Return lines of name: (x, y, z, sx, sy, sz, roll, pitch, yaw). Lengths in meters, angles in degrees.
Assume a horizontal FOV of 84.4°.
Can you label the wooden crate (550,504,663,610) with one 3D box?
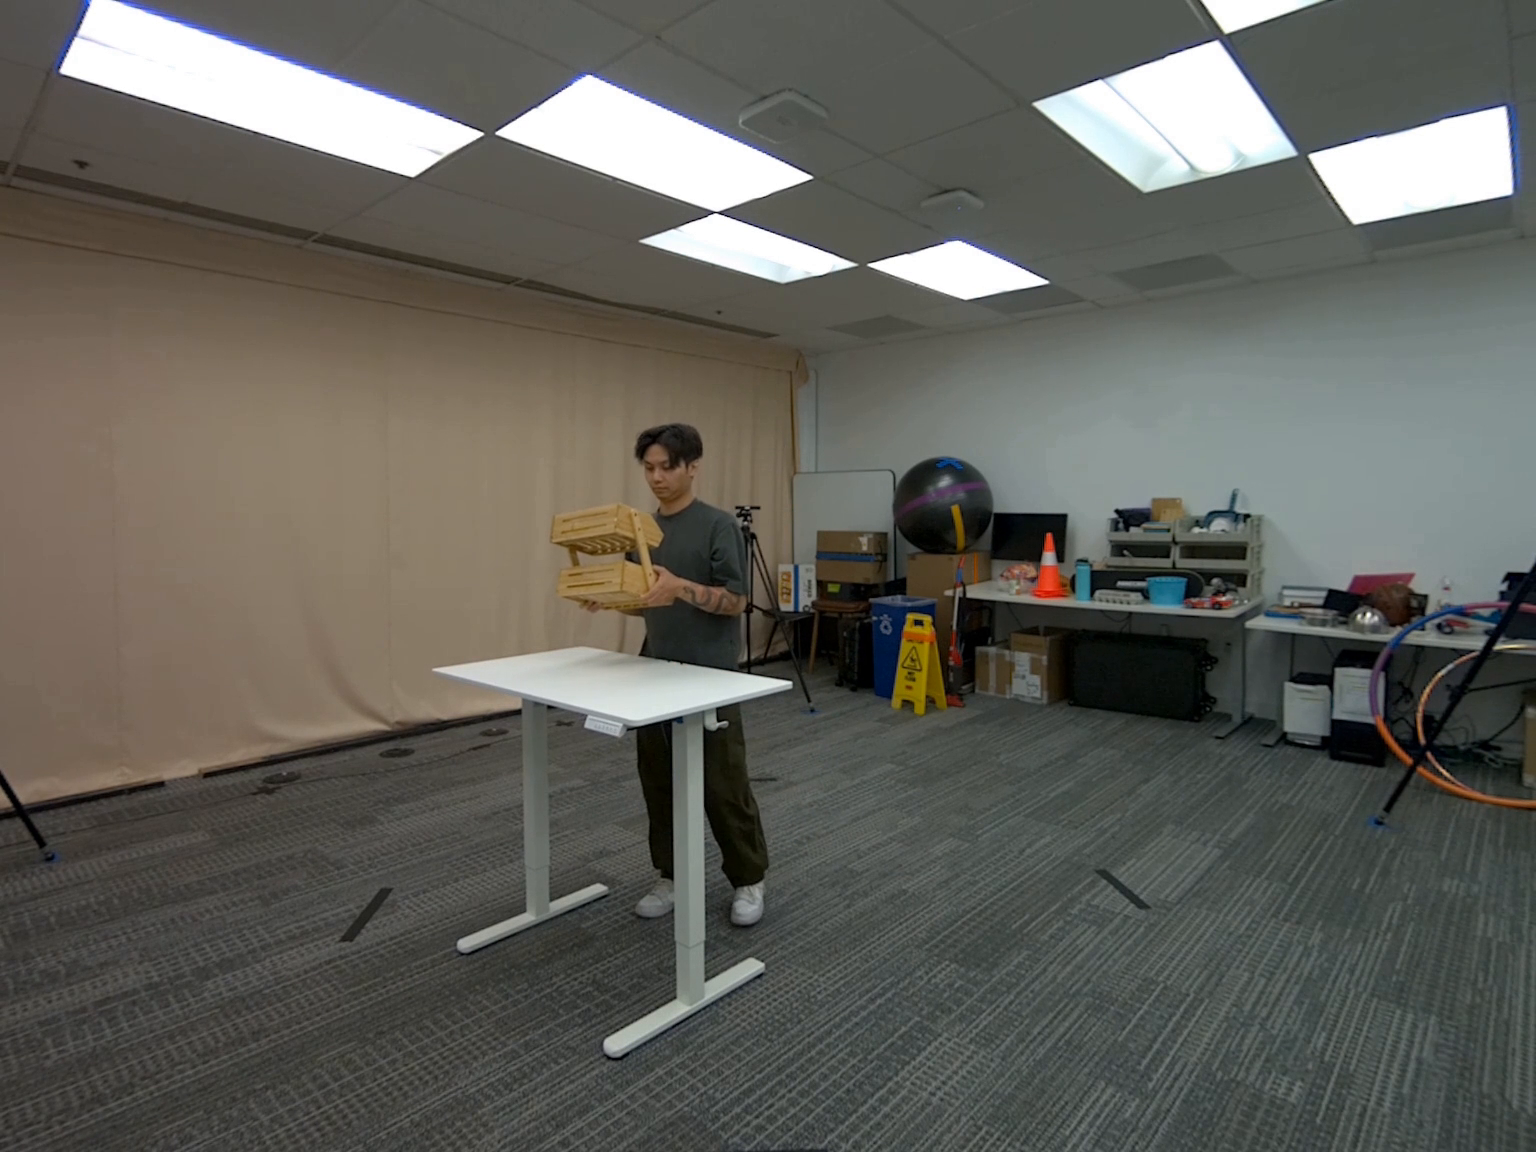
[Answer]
wooden crate: (-0.491, -0.055, 2.728, 0.334, 0.275, 0.291, -7, -16, 36)
